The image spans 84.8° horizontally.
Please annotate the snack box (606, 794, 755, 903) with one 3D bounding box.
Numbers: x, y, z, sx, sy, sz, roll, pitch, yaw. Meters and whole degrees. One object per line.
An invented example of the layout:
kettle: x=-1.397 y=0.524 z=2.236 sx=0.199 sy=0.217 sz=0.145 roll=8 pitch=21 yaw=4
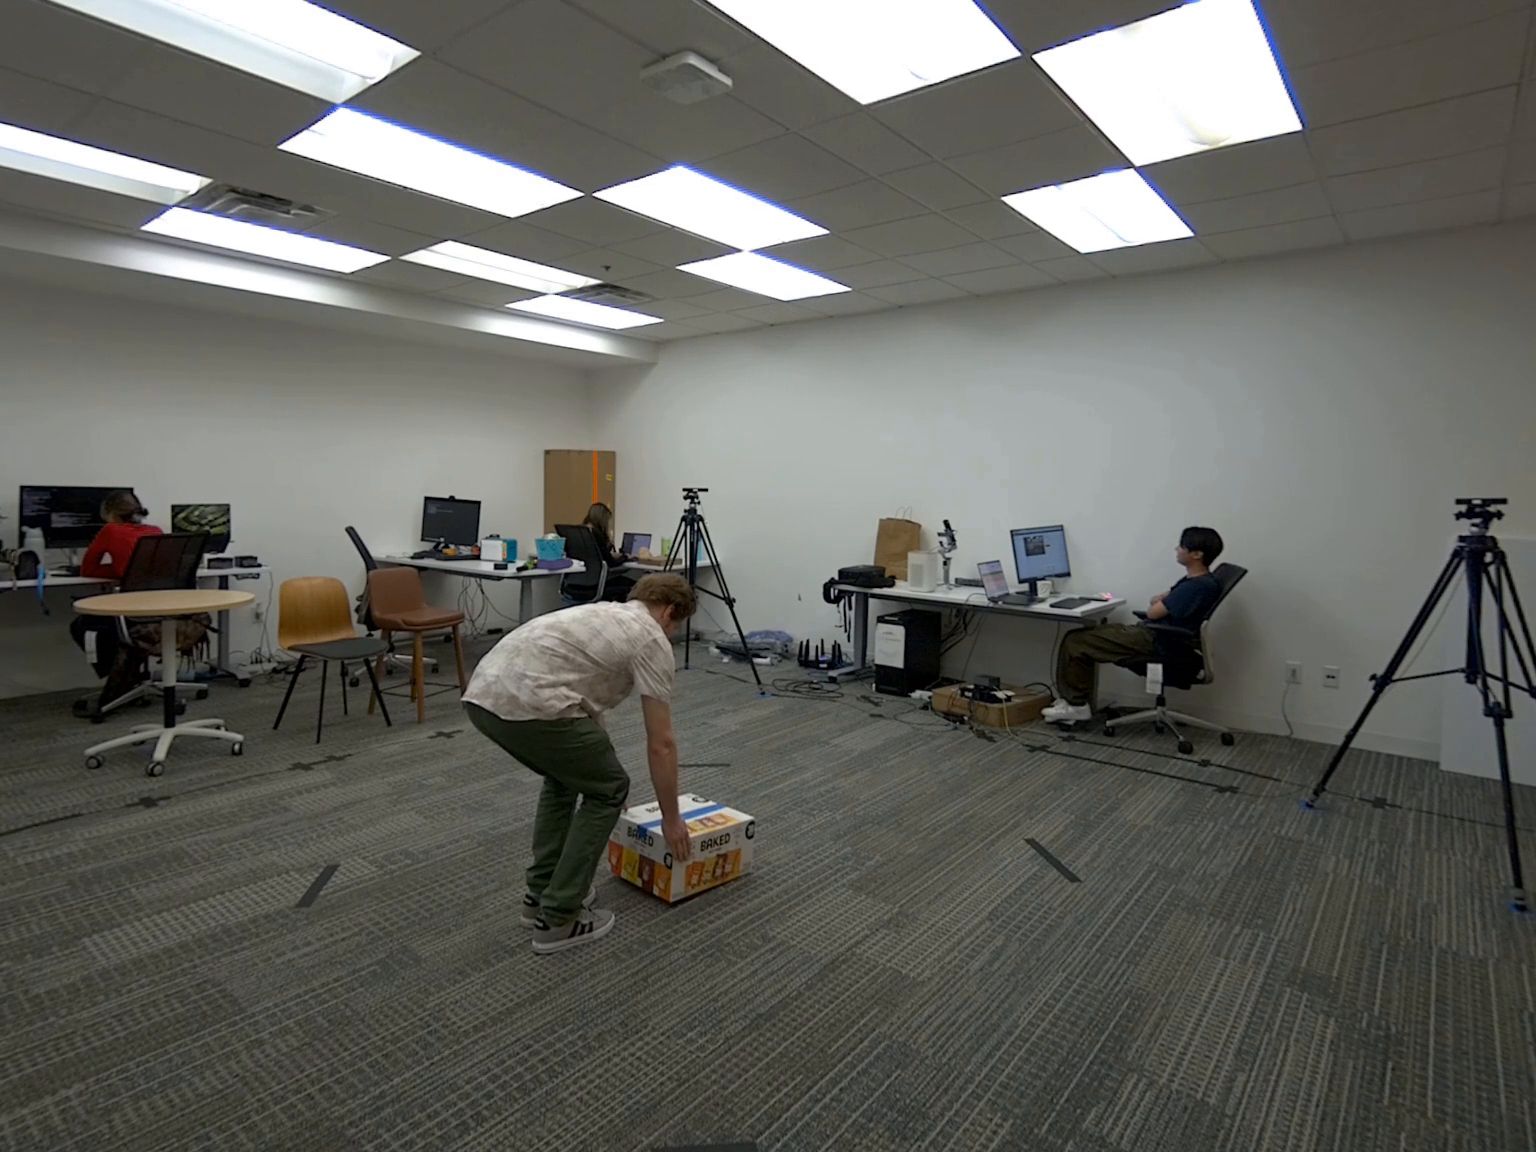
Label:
snack box: x=-0.319 y=0.960 z=3.056 sx=0.352 sy=0.205 sz=0.392 roll=6 pitch=4 yaw=42
